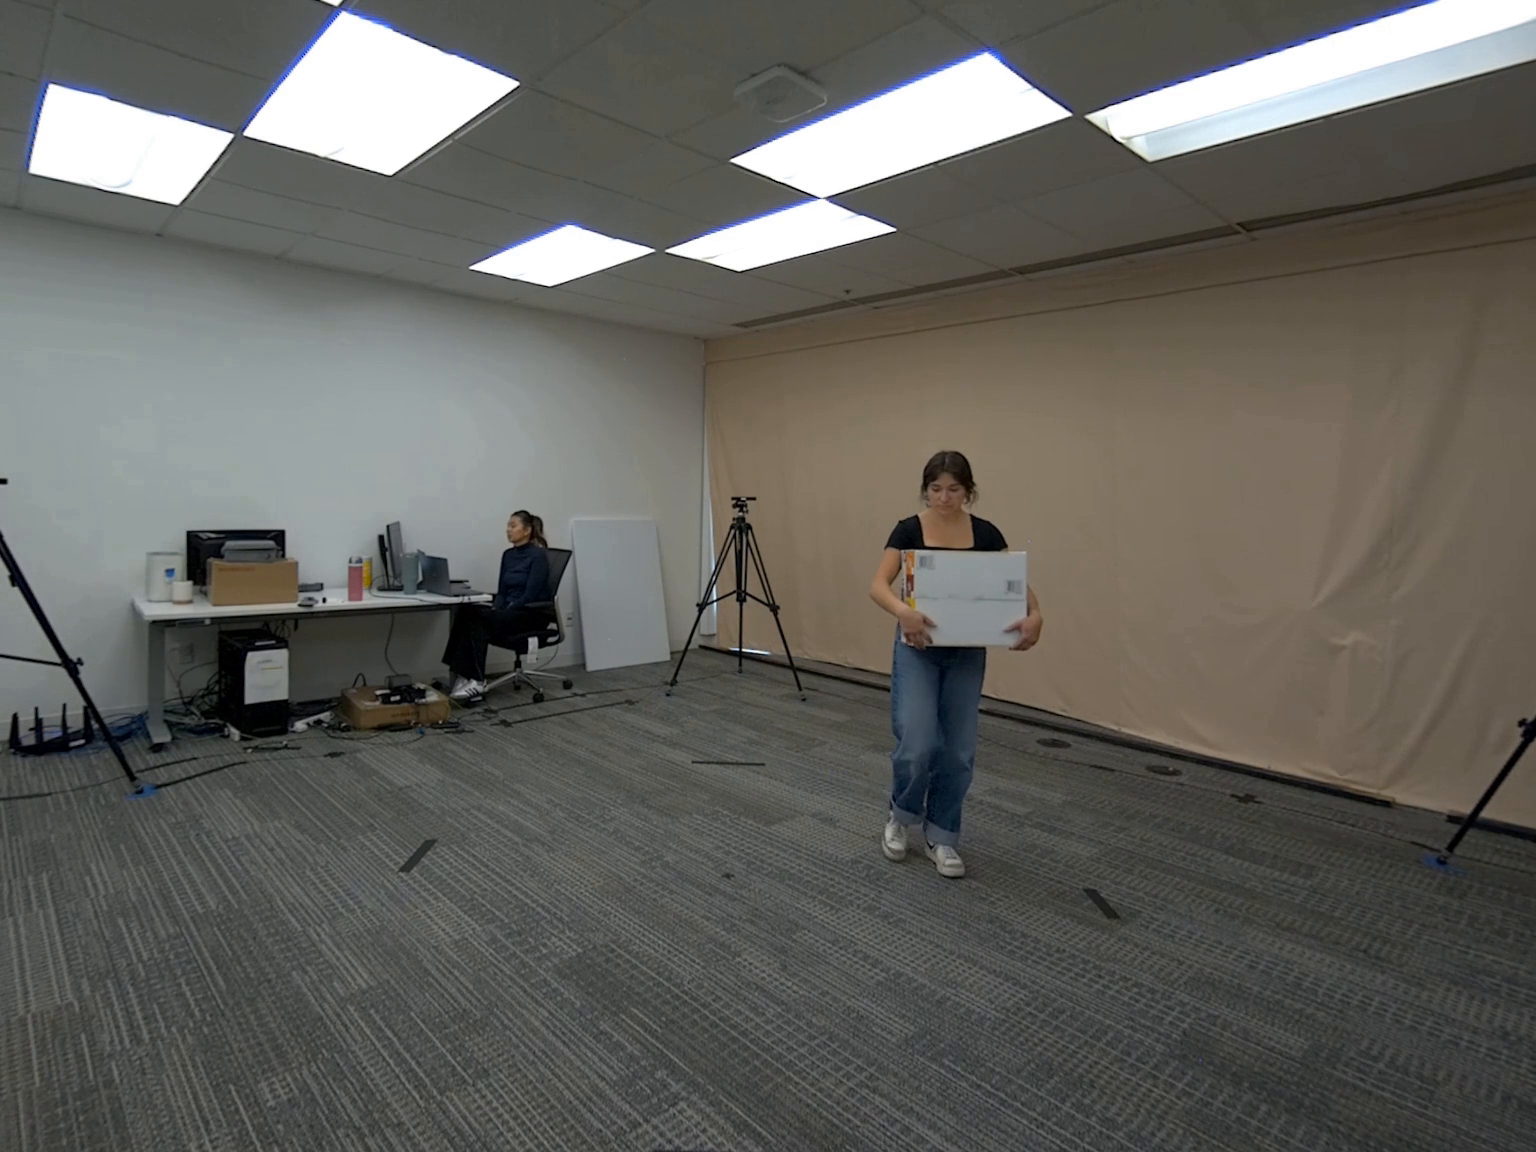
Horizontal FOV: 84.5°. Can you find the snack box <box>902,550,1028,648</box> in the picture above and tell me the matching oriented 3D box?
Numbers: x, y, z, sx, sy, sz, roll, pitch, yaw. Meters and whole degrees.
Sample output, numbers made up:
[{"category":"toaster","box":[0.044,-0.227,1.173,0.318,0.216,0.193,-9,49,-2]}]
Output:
[{"category":"snack box","box":[0.696,0.079,3.039,0.405,0.340,0.205,1,0,1]}]
